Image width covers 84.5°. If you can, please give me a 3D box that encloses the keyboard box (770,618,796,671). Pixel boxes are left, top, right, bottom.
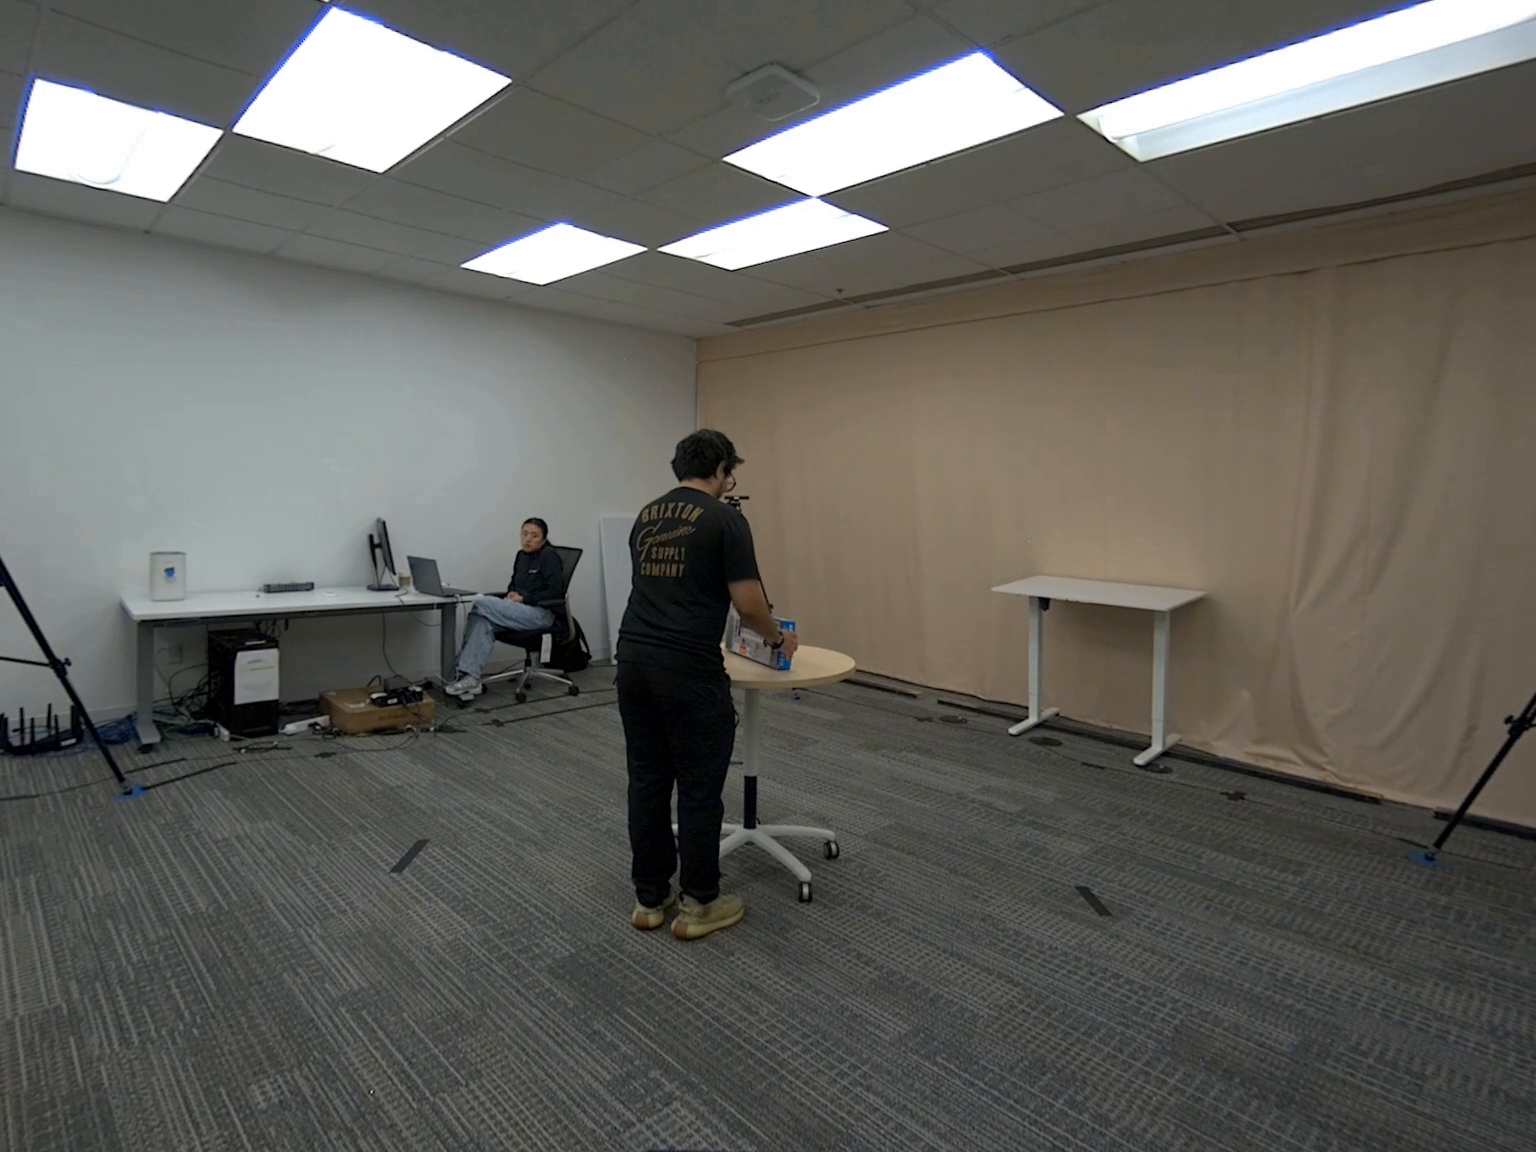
[{"bbox_3d":[-0.036,0.233,3.168,0.058,0.176,0.446,4,3,-26],"label":"keyboard box"}]
